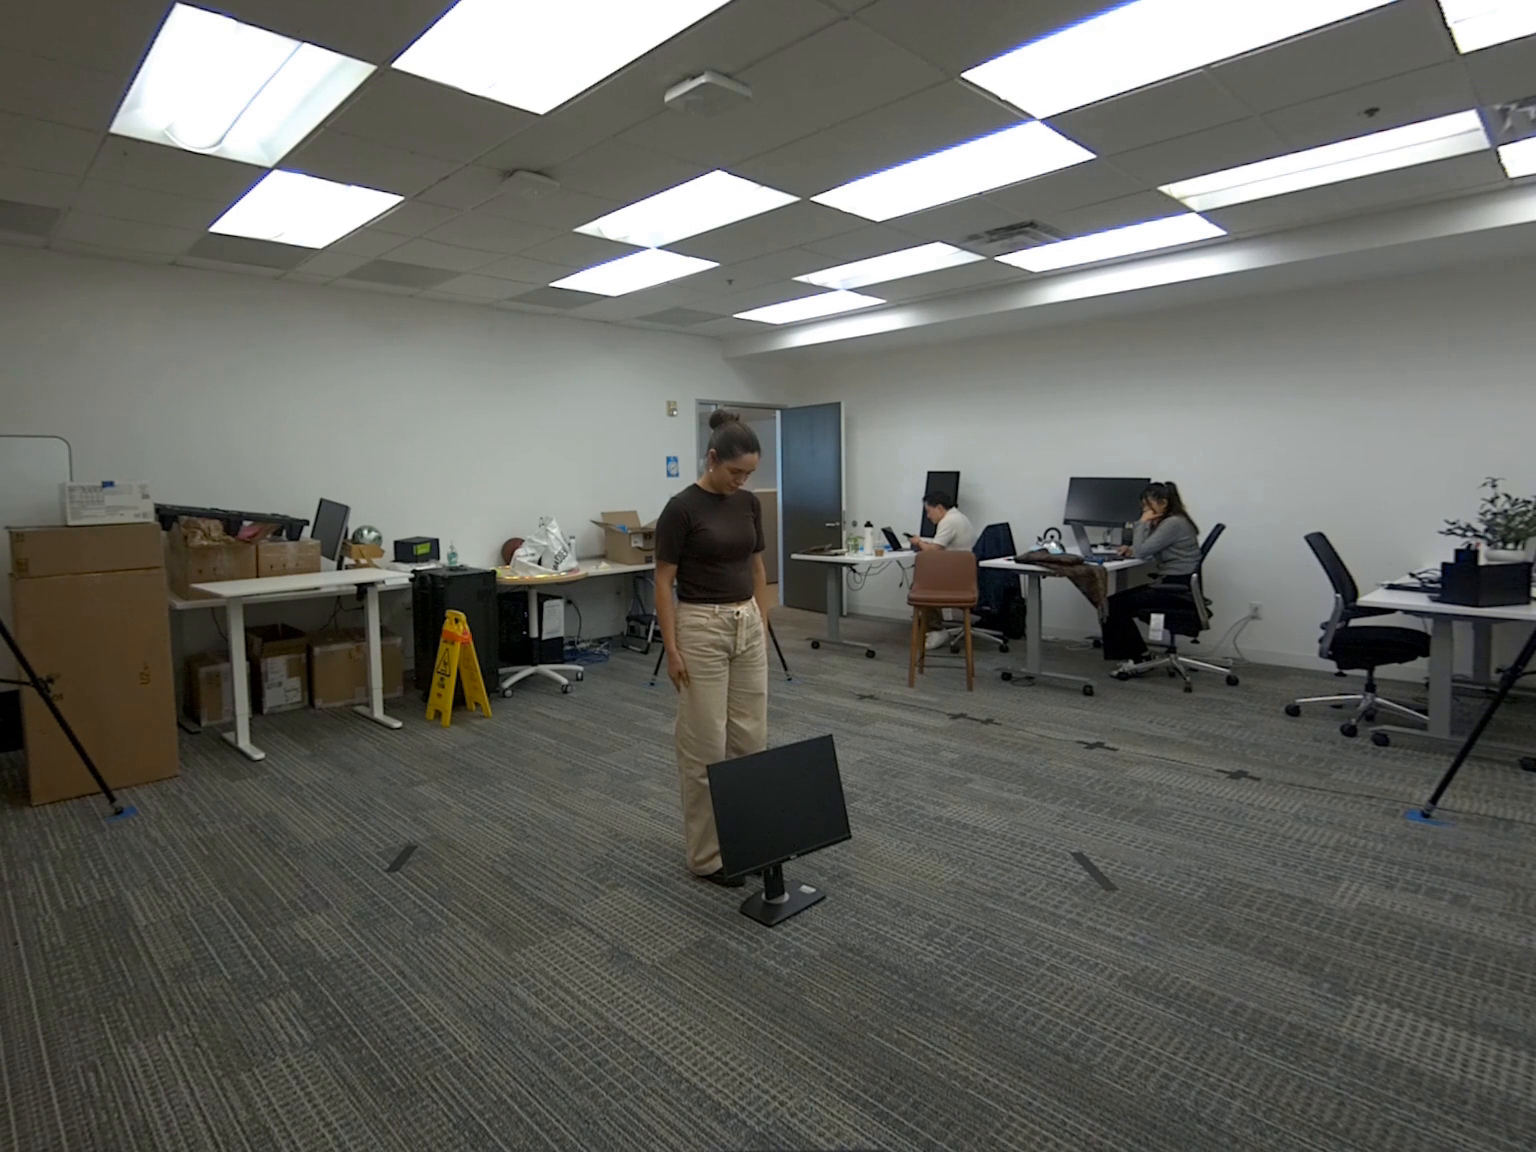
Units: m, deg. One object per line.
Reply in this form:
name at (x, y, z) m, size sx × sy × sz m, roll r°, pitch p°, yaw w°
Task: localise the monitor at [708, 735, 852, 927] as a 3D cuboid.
monitor at (0.028, 0.828, 2.799) m, size 0.525 × 0.521 × 0.192 m, roll -5°, pitch 4°, yaw -42°
